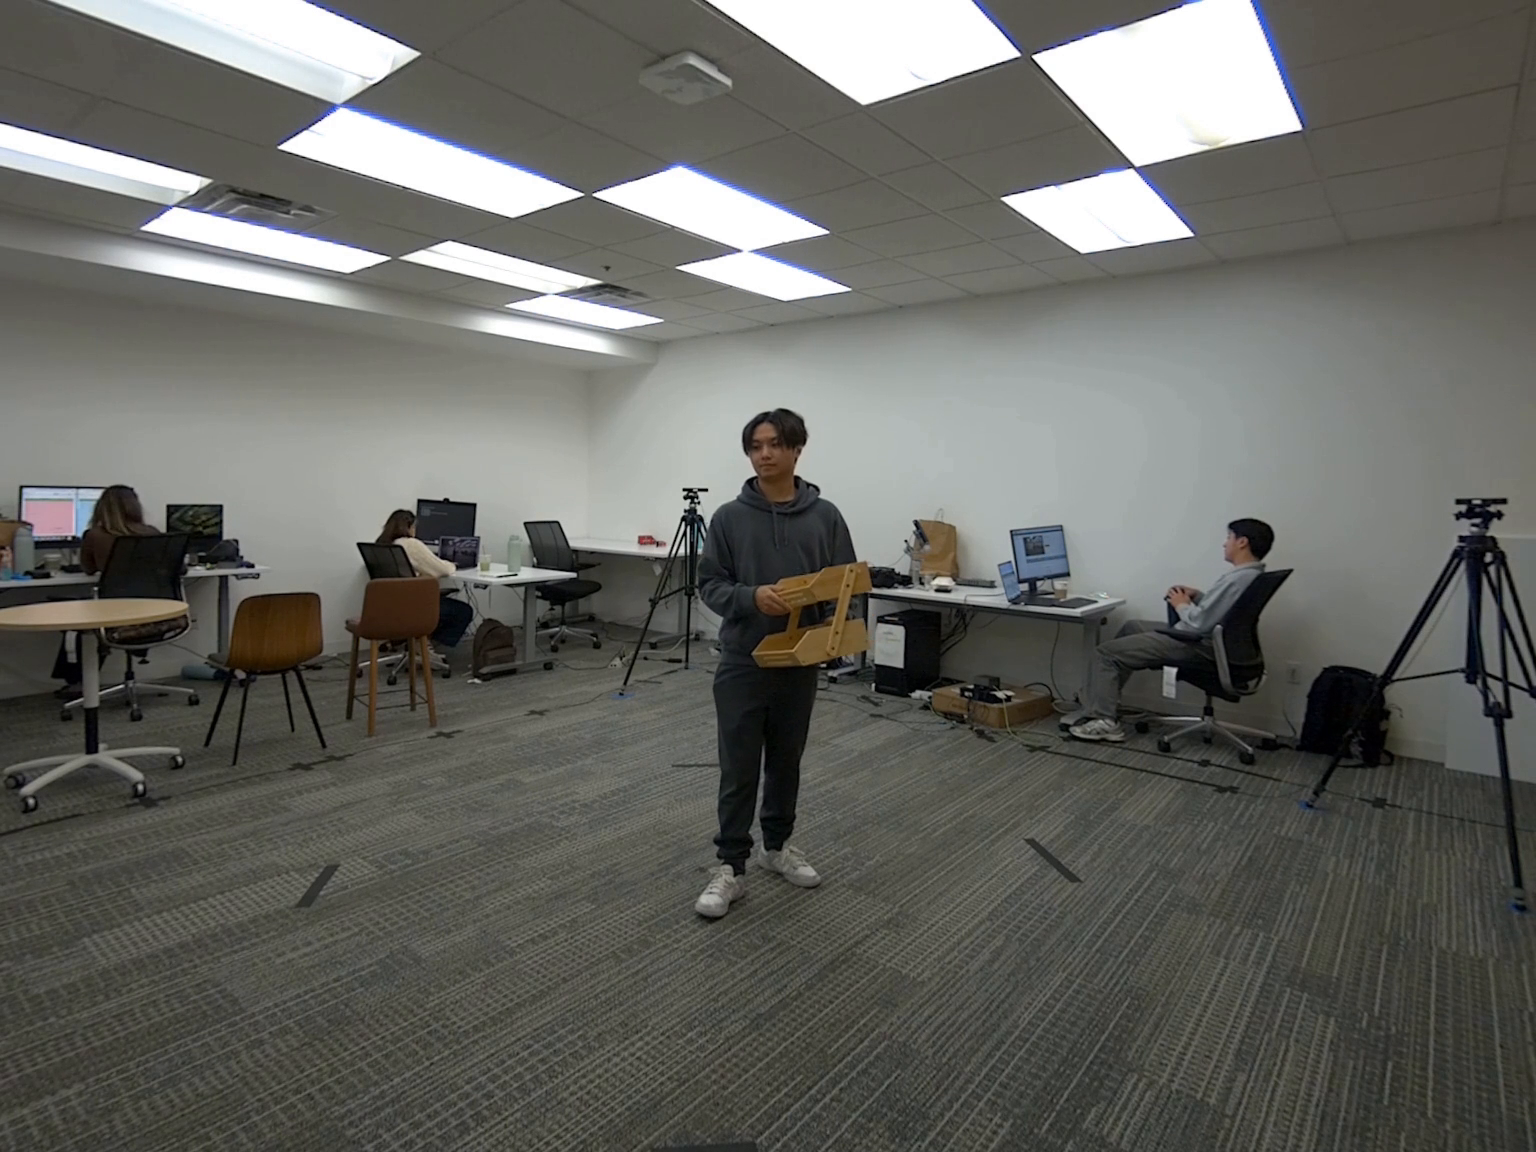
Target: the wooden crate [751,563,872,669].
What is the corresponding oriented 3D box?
[{"bbox_3d":[0.101,0.114,2.621,0.295,0.275,0.330,-10,-4,-28],"label":"wooden crate"}]
